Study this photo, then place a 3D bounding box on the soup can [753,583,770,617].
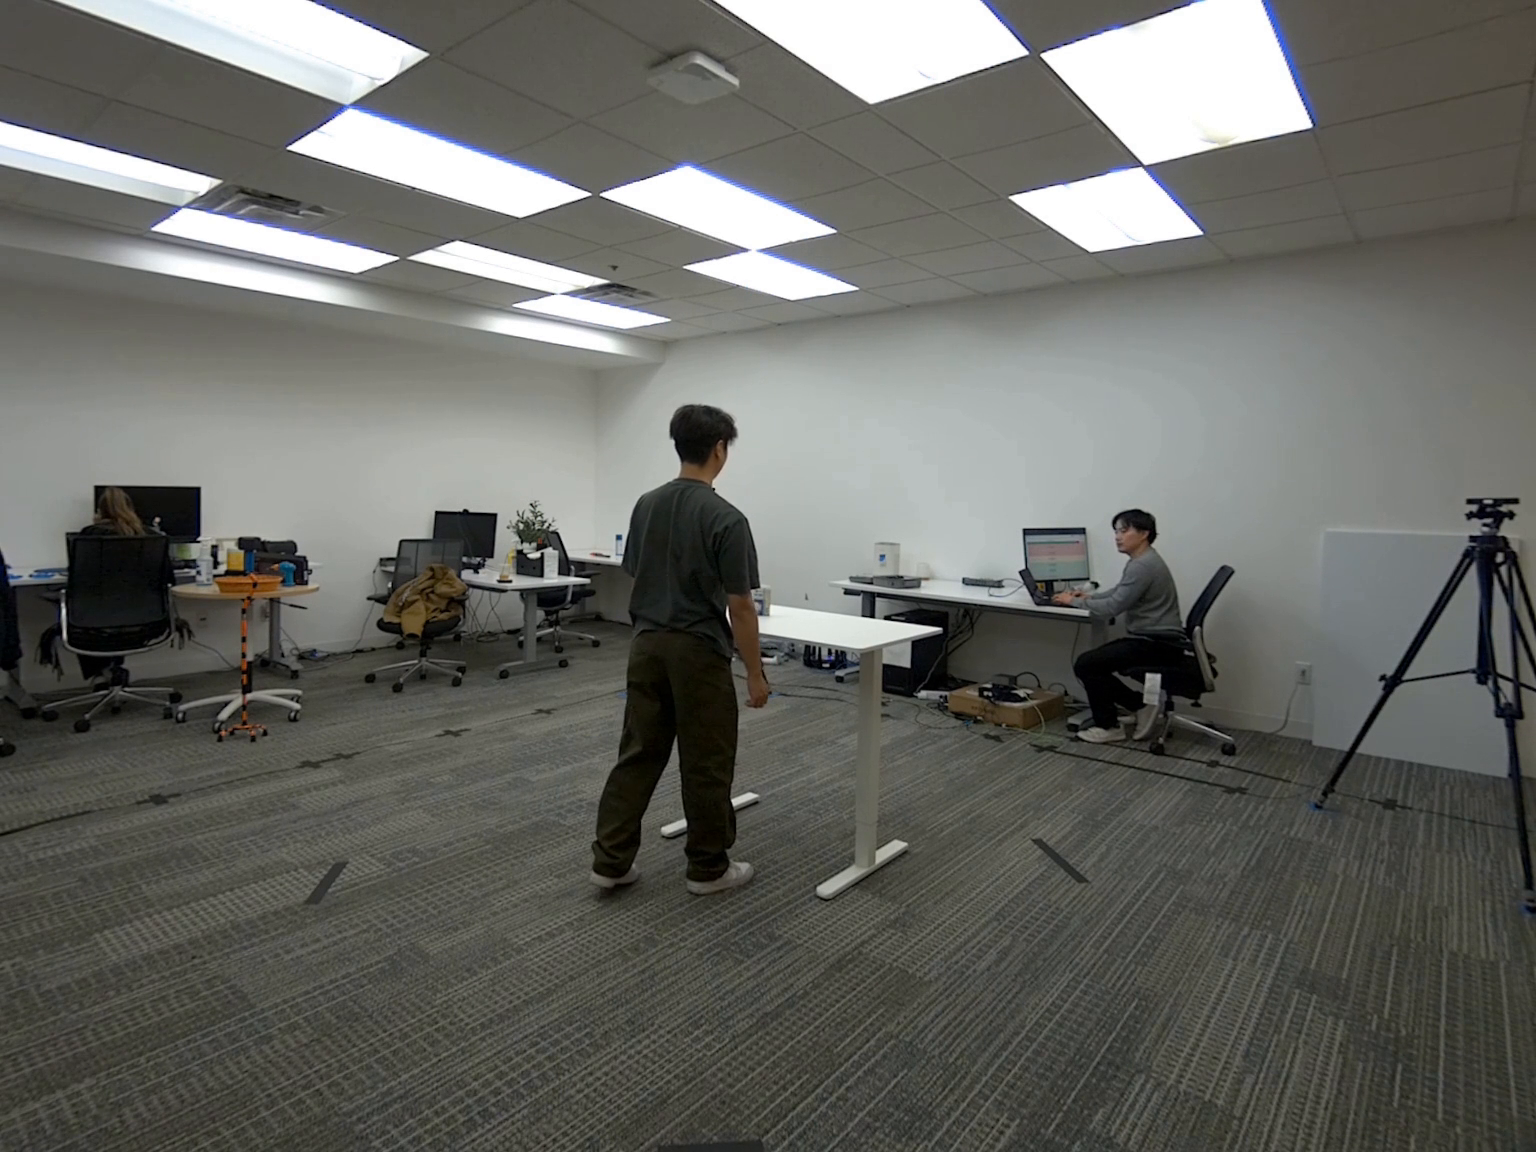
[{"bbox_3d":[-0.031,0.096,3.431,0.067,0.121,0.067,-1,6,-2],"label":"soup can"}]
